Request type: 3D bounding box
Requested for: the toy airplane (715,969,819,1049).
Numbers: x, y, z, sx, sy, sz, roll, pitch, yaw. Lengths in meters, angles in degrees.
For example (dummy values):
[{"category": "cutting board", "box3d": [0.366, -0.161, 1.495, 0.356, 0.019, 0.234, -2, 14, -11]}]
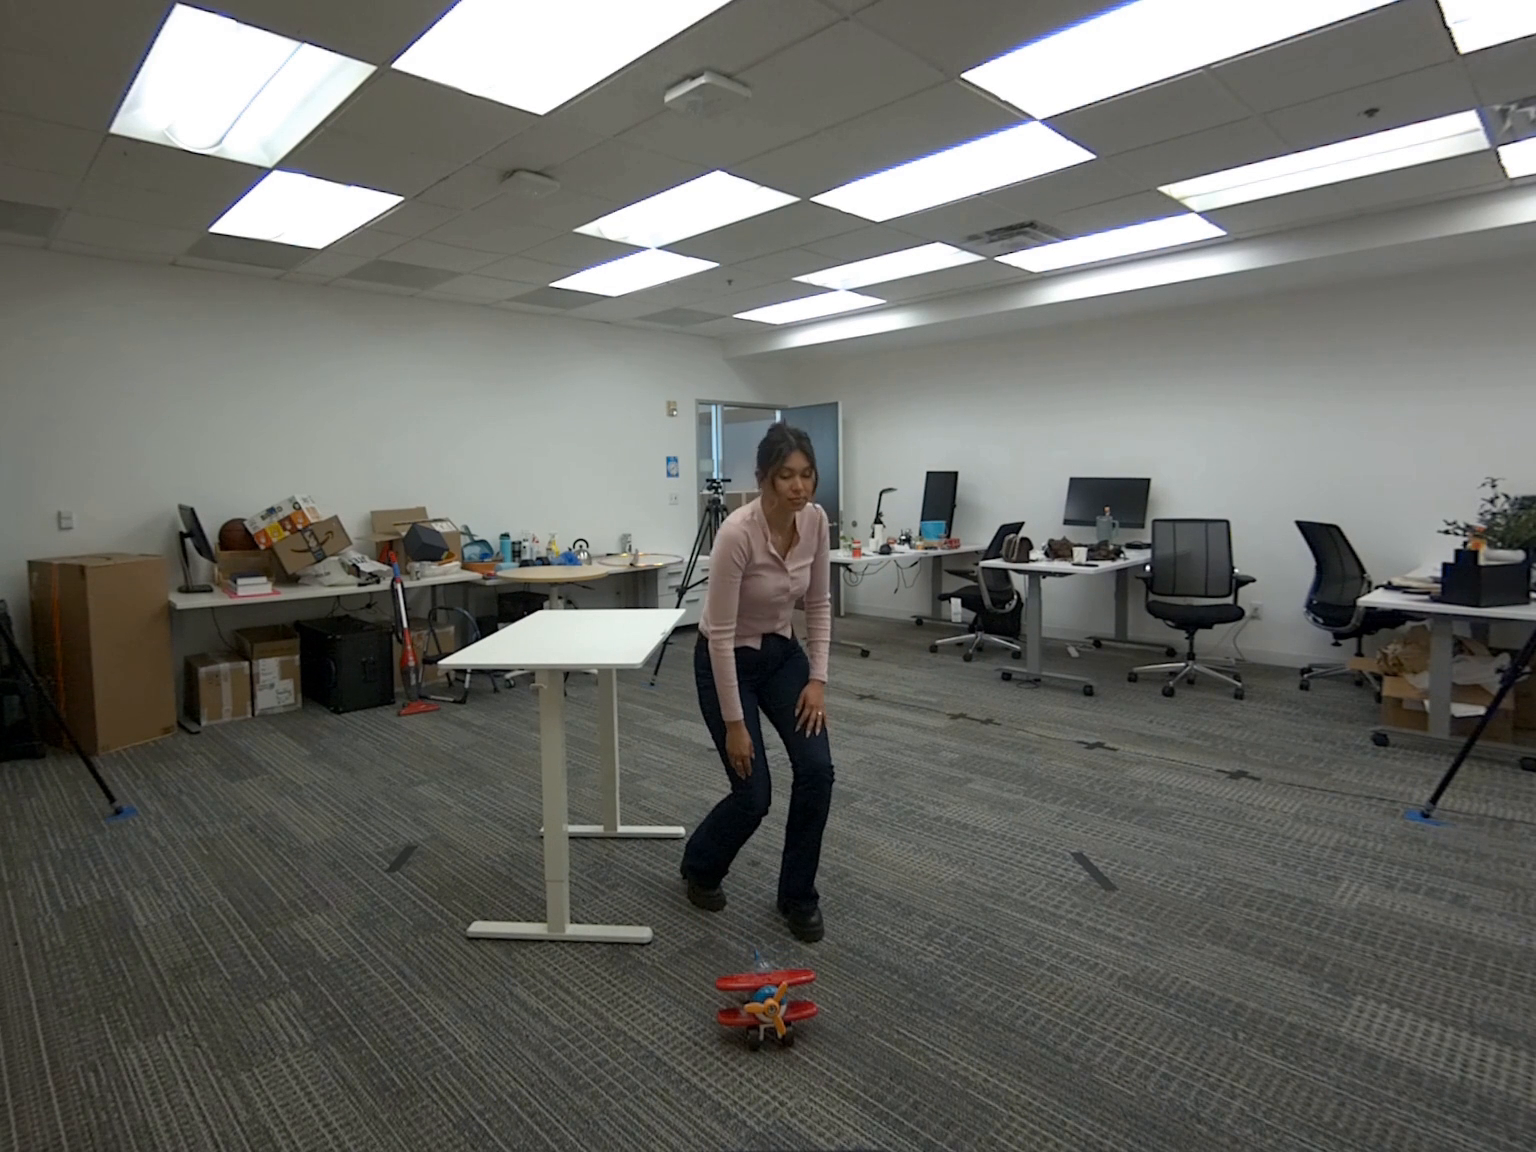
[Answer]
[{"category": "toy airplane", "box3d": [-0.022, 1.085, 2.185, 0.245, 0.155, 0.267, -7, 8, -35]}]
